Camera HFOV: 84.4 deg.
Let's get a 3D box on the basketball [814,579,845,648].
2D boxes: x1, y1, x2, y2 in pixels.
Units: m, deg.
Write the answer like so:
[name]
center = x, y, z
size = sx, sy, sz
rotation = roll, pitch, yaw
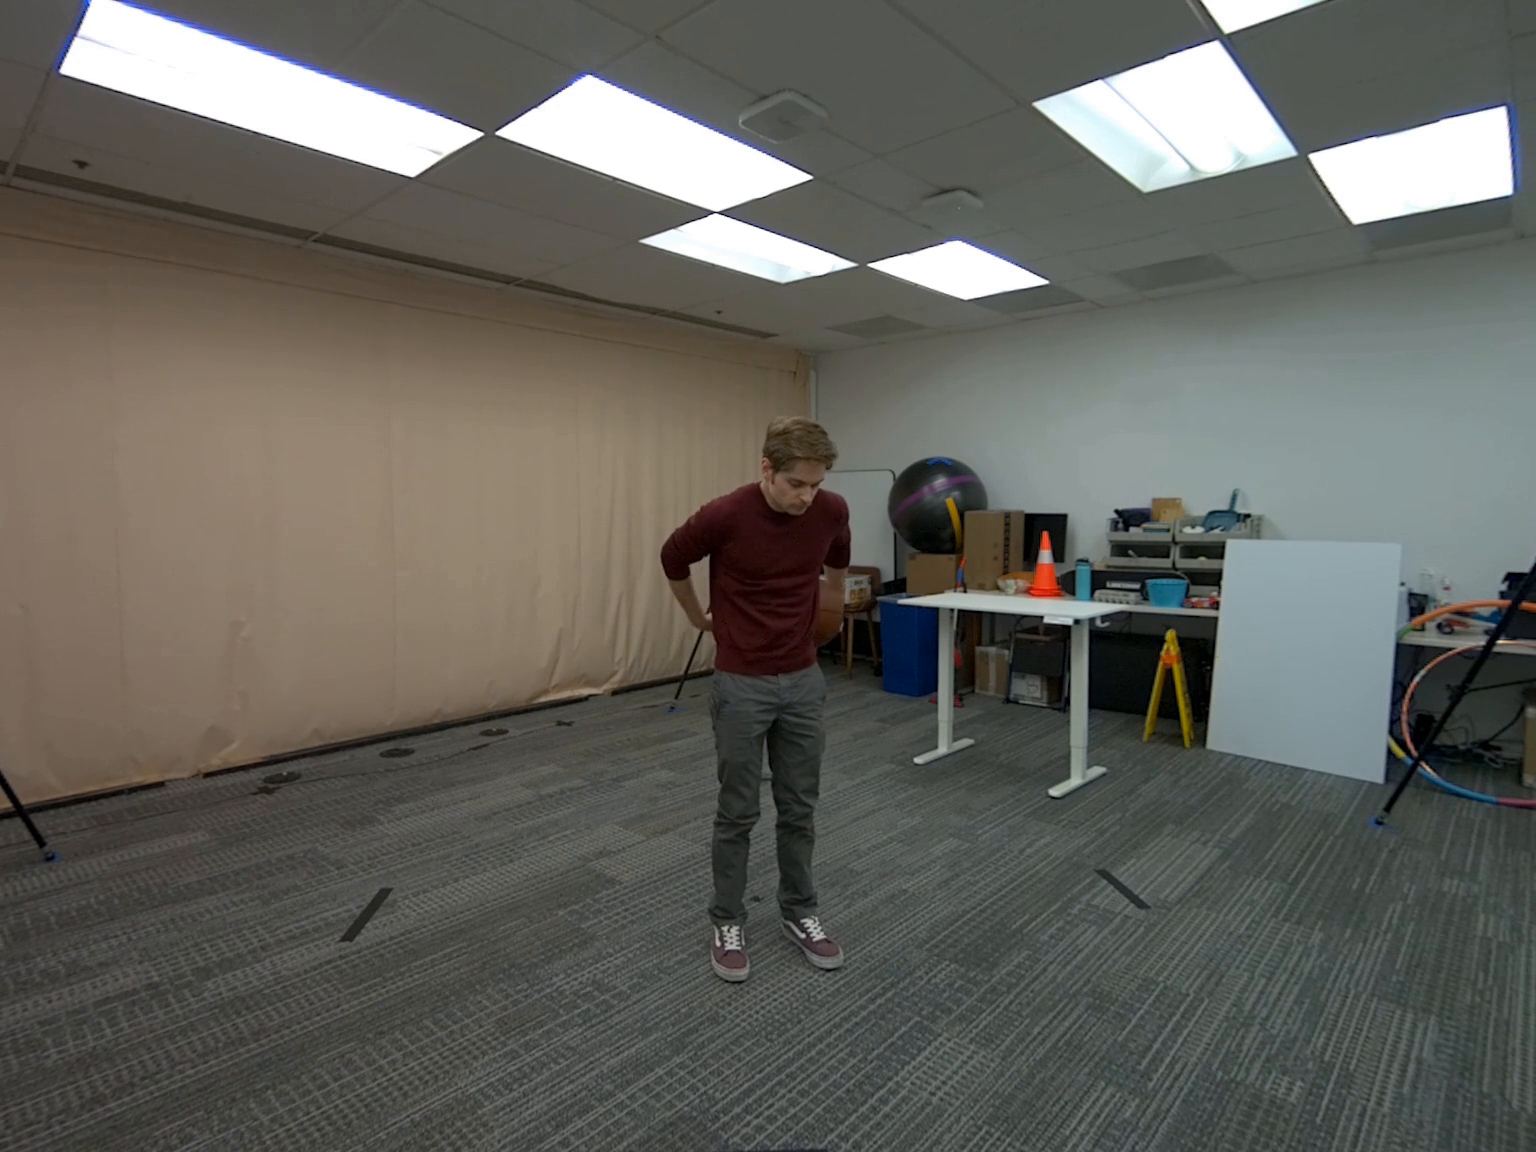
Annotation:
[basketball]
center = 0.130, 0.123, 2.795
size = 0.236, 0.235, 0.237
rotation = 0, 4, -2
